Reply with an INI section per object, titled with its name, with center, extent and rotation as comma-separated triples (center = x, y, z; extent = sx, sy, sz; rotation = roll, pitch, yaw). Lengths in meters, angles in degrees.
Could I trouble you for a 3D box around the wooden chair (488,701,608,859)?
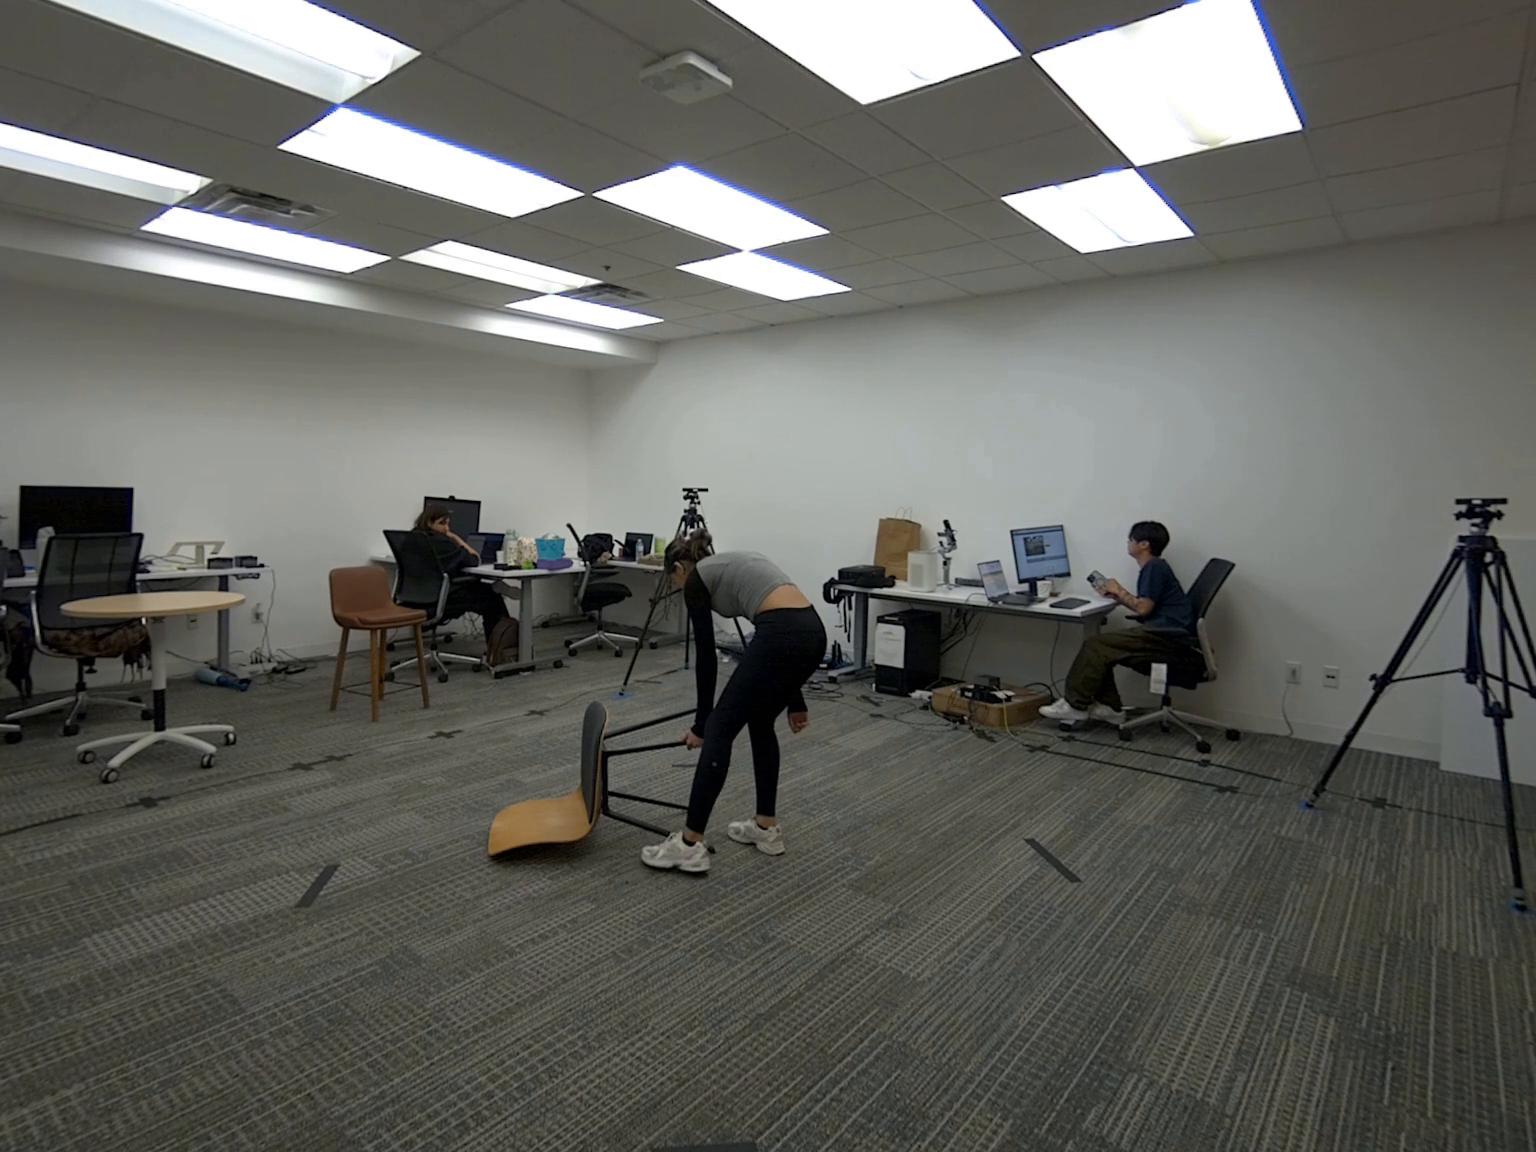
[wooden chair]
center = -0.665, 0.775, 3.356
extent = 0.865, 0.521, 0.487
rotation = -1, 4, -14
